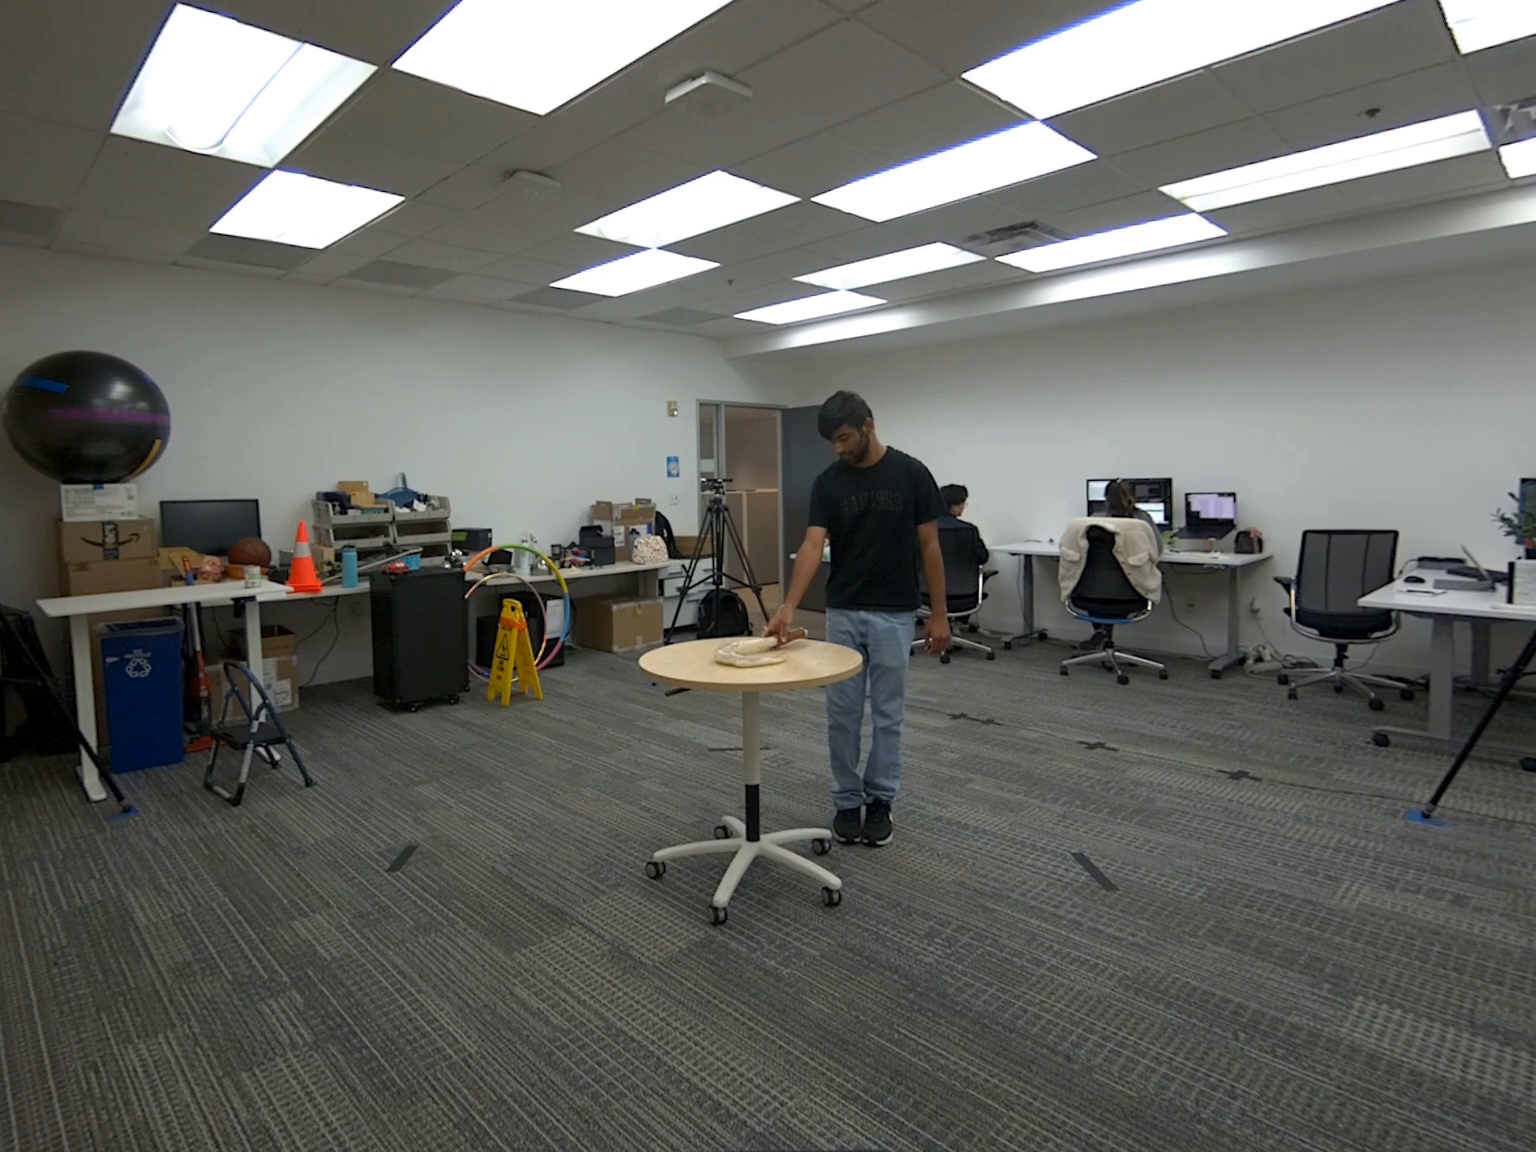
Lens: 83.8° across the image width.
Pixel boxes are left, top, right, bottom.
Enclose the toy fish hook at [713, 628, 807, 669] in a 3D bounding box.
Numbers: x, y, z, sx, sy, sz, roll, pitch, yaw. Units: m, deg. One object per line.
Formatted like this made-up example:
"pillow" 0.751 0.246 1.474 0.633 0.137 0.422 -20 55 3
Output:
"toy fish hook" 0.035 0.257 2.977 0.232 0.048 0.495 12 15 38
